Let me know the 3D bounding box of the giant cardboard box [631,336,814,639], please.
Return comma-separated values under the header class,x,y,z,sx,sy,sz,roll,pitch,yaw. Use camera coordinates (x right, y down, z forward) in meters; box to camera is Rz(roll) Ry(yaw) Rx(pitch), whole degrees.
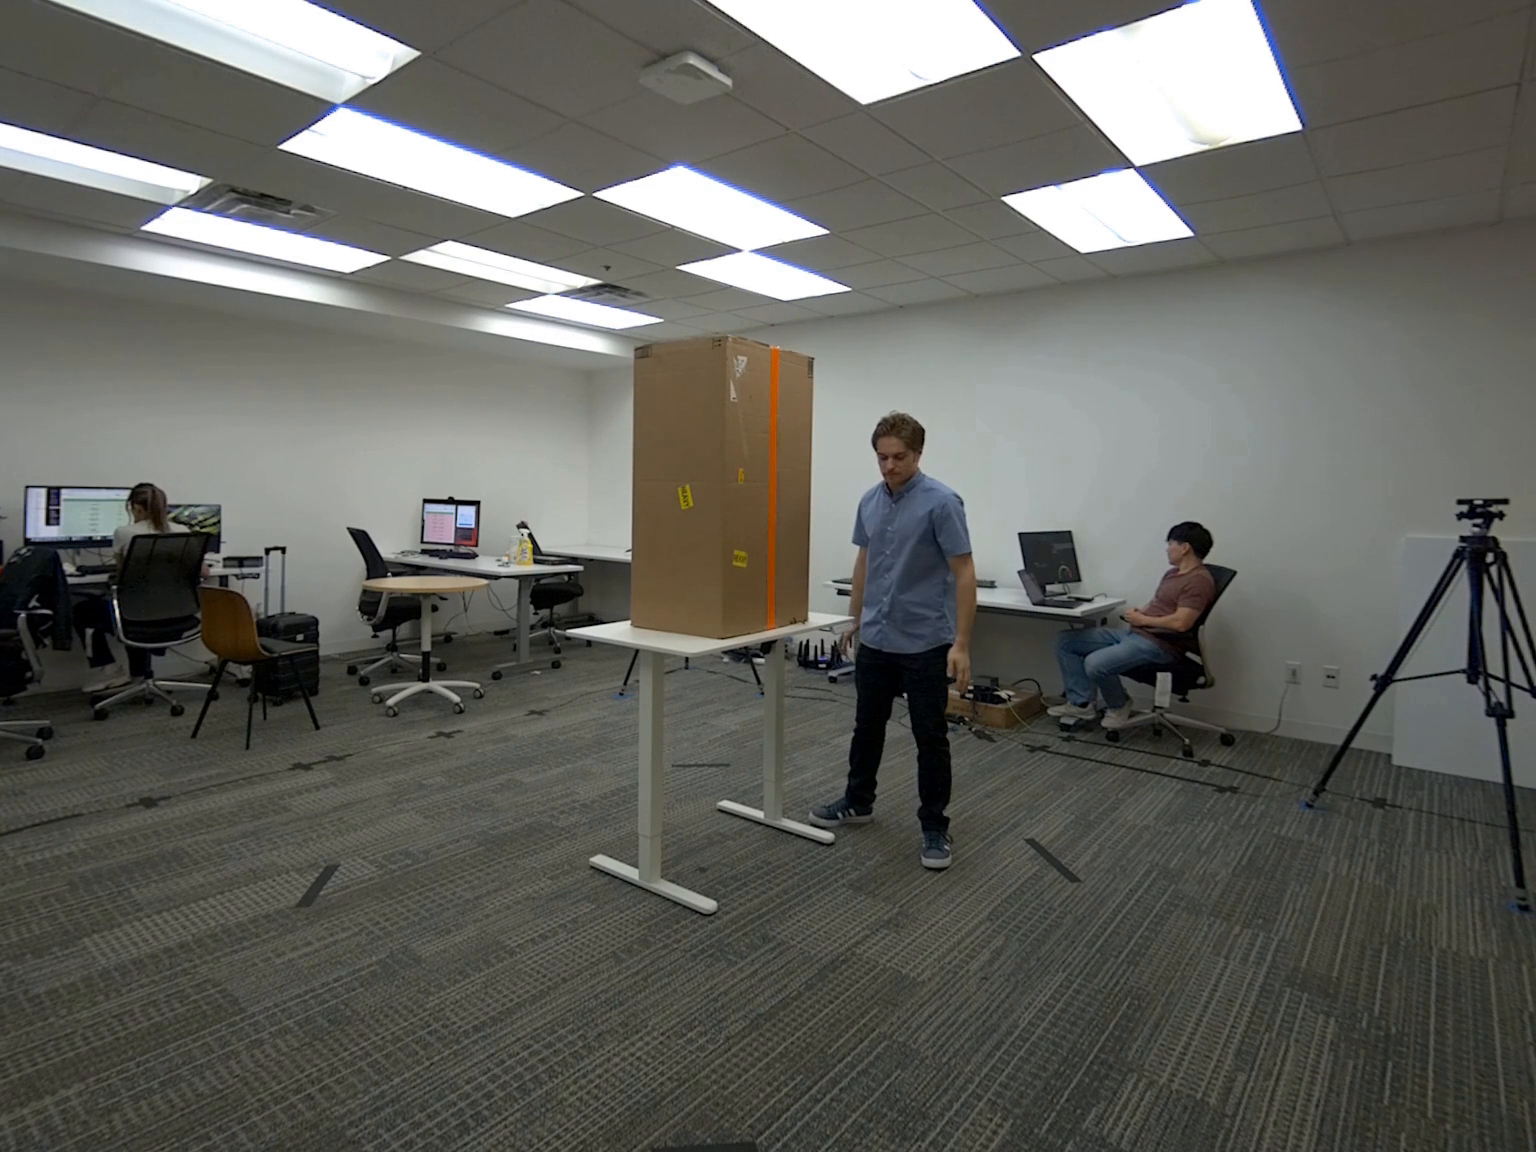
class,x,y,z,sx,sy,sz,roll,pitch,yaw
giant cardboard box,-0.170,-0.327,3.188,0.440,1.023,0.561,3,3,36
